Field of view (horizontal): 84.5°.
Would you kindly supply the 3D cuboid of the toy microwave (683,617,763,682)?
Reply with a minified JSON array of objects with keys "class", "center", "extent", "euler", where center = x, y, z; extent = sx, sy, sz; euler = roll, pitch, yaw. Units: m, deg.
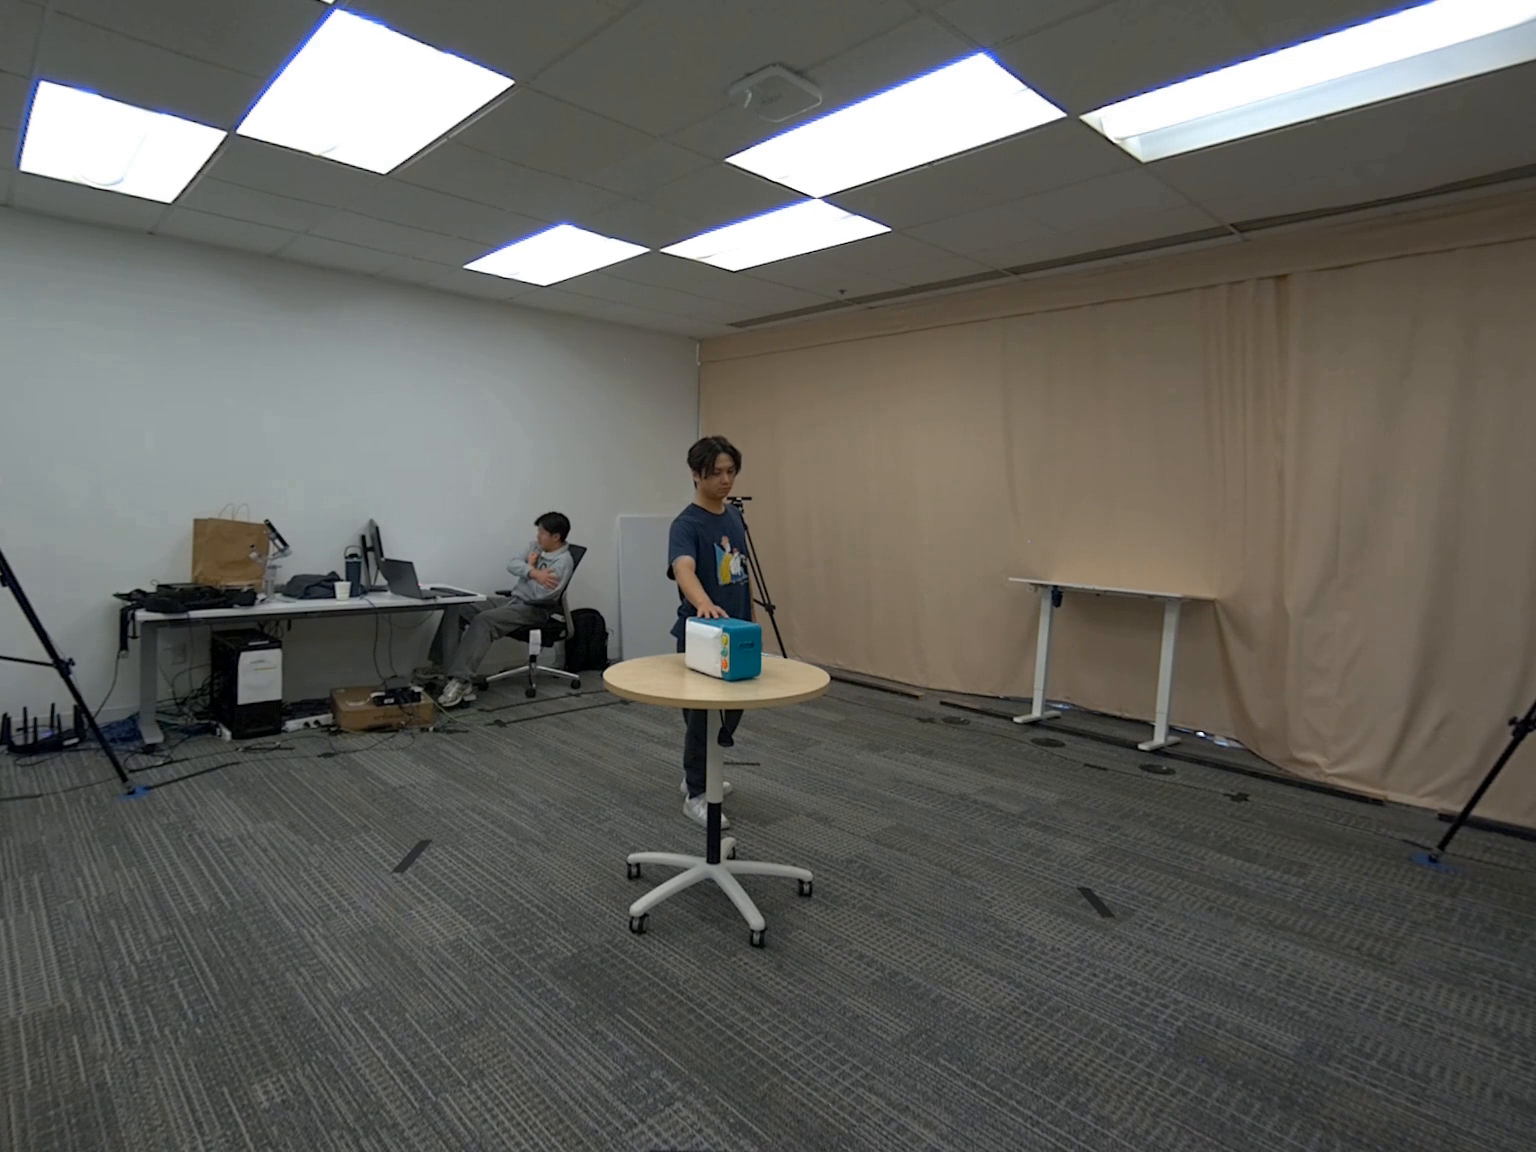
[{"class":"toy microwave","center":[-0.168,0.243,2.844],"extent":[0.149,0.184,0.293],"euler":[-1,5,-35]}]
